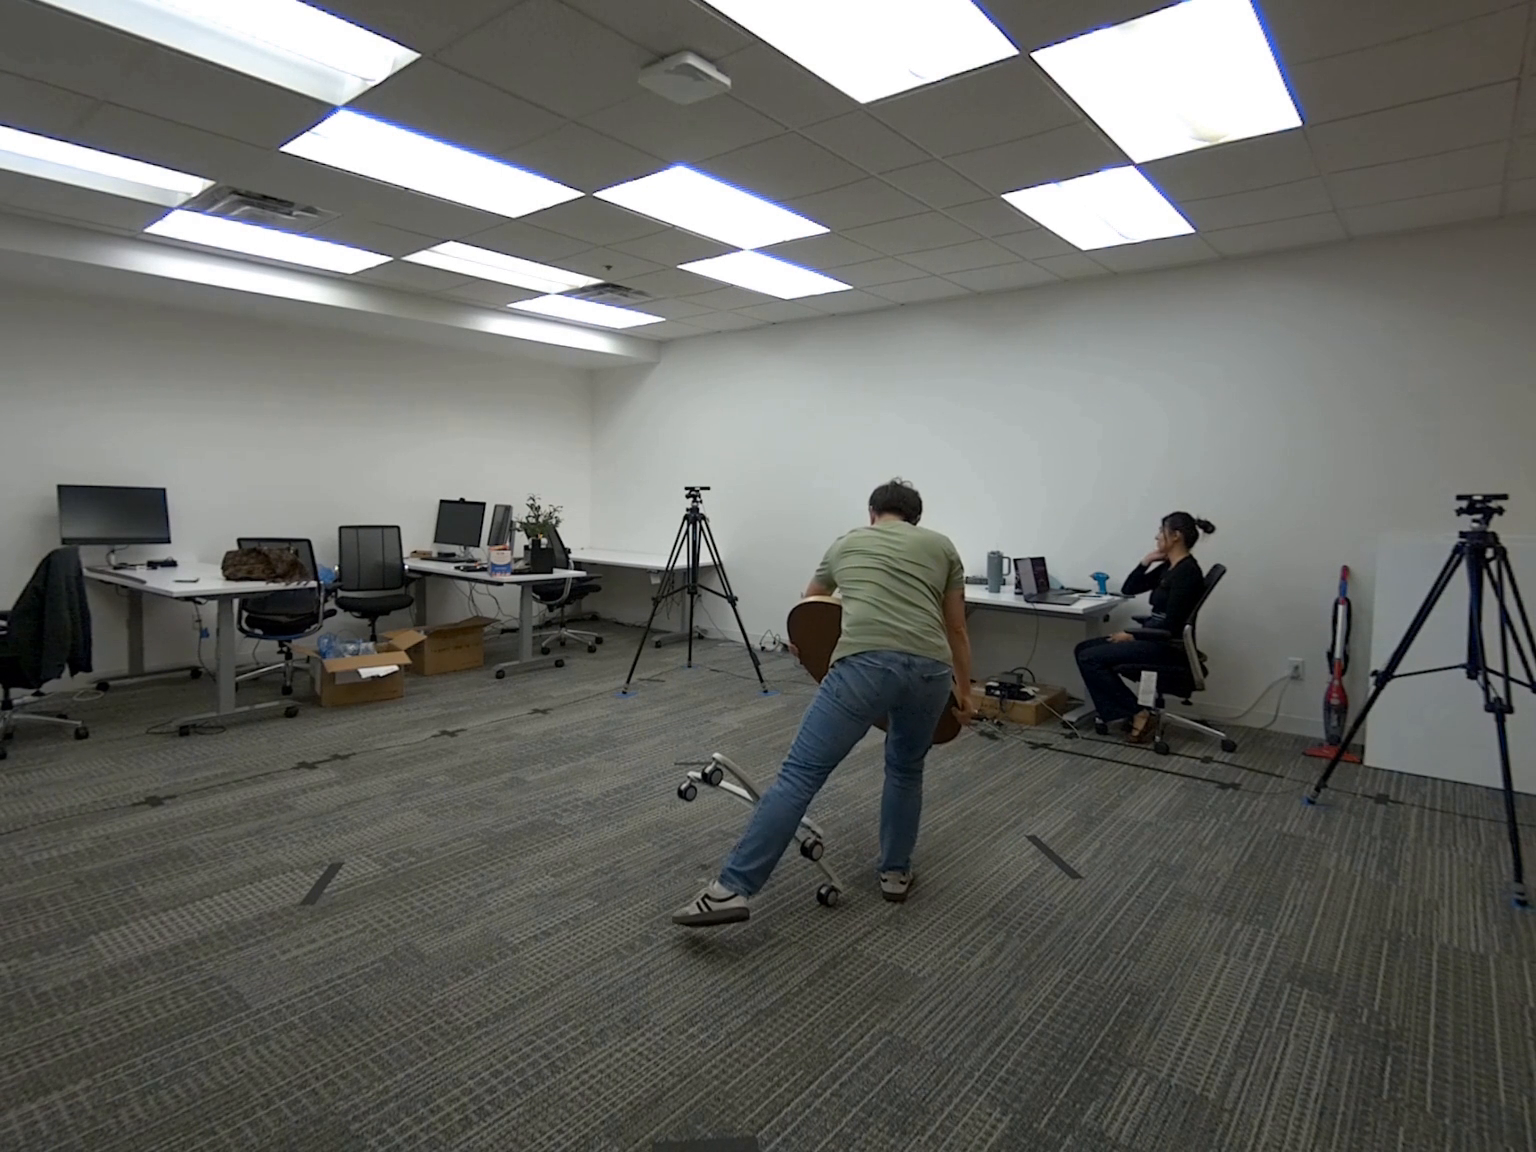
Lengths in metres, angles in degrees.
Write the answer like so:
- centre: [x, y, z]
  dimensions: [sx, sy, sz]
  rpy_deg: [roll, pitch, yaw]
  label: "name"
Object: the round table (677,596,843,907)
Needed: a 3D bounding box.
- centre: [0.148, 0.617, 3.065]
  dimensions: [0.790, 0.738, 0.794]
  rpy_deg: [5, 46, 48]
  label: "round table"
